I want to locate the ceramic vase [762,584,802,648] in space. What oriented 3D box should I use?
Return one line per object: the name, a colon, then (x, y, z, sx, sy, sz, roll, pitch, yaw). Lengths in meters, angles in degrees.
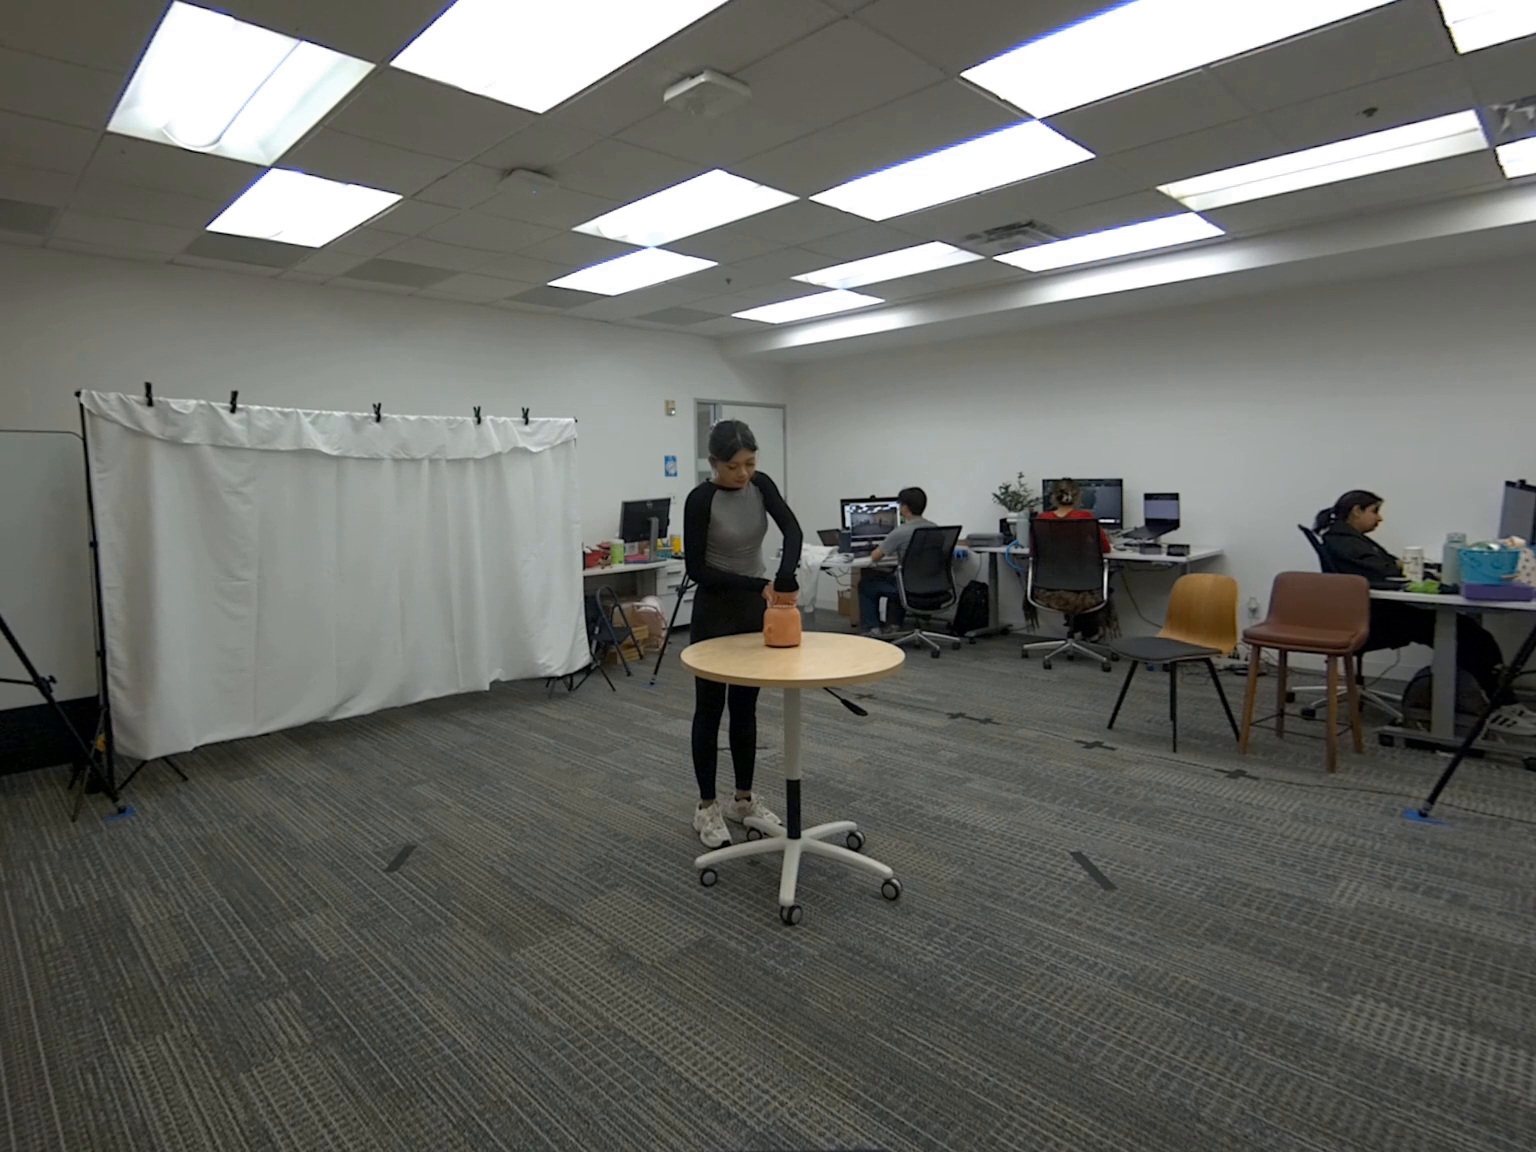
ceramic vase: (0.055, 0.133, 3.076, 0.135, 0.219, 0.158, -1, 3, 3)
